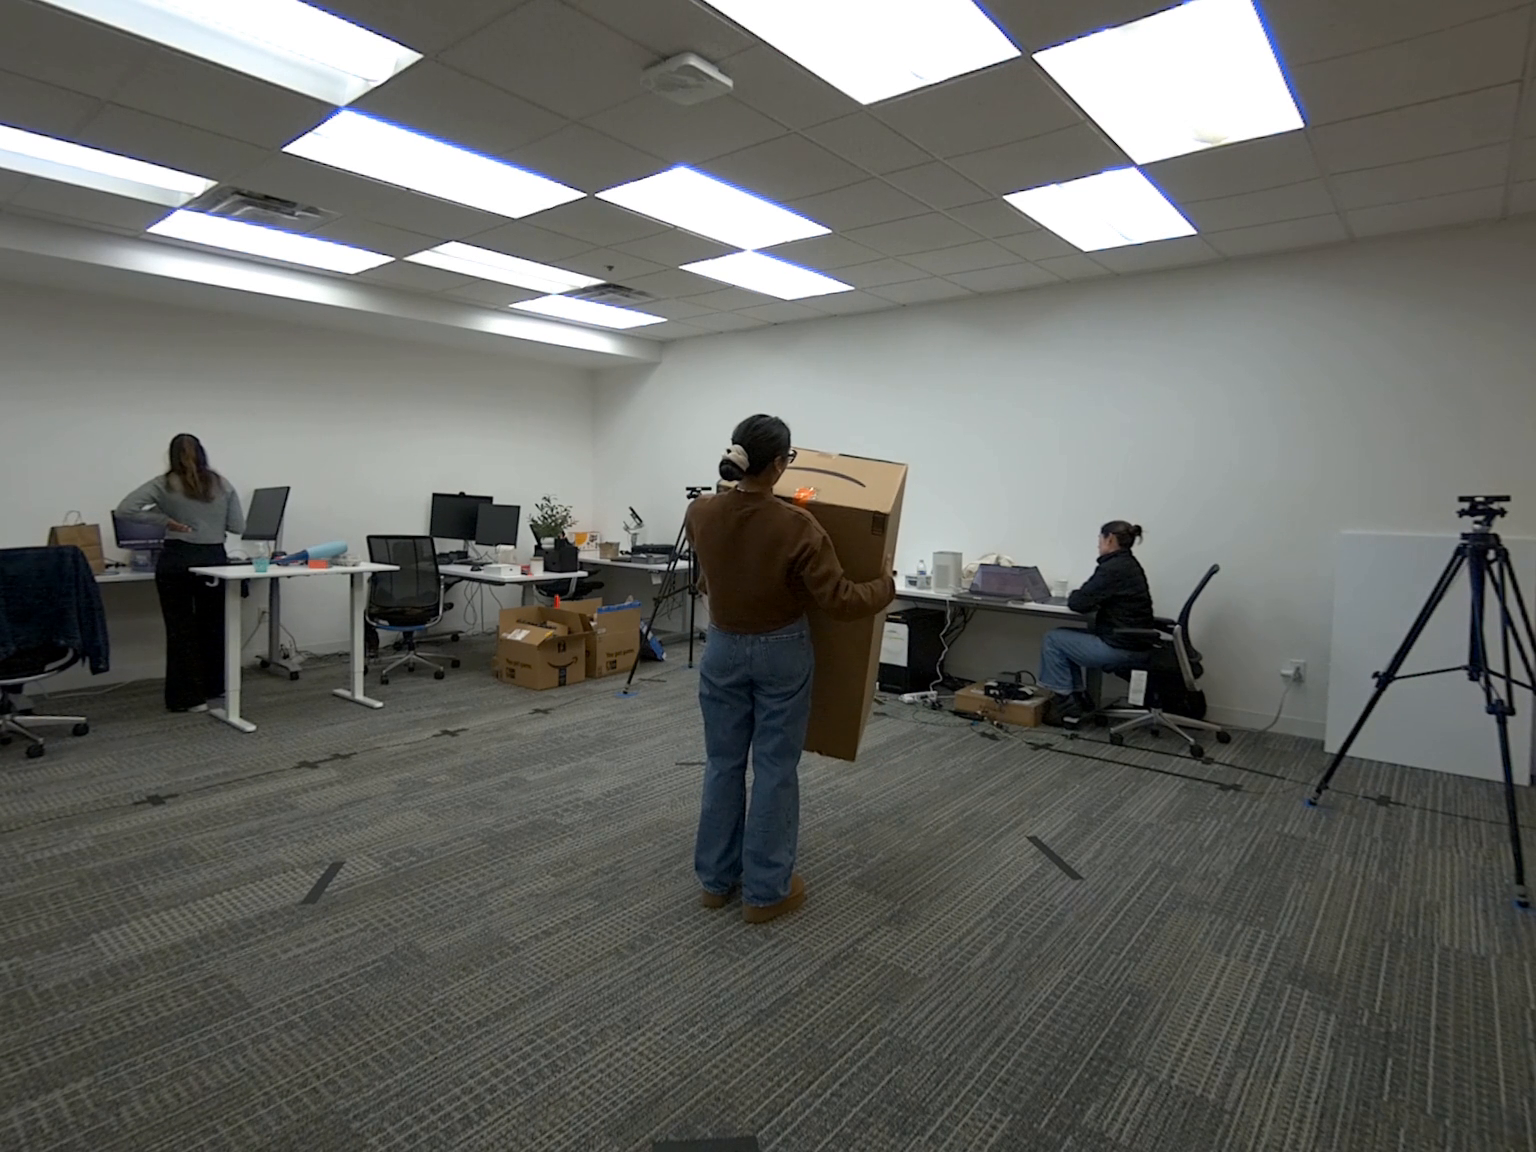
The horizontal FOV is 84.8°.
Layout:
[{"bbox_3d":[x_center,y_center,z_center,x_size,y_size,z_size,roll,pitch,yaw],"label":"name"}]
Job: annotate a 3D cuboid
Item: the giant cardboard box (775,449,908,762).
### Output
[{"bbox_3d":[0.128,0.096,3.135,0.589,1.003,0.427,12,29,15],"label":"giant cardboard box"}]
